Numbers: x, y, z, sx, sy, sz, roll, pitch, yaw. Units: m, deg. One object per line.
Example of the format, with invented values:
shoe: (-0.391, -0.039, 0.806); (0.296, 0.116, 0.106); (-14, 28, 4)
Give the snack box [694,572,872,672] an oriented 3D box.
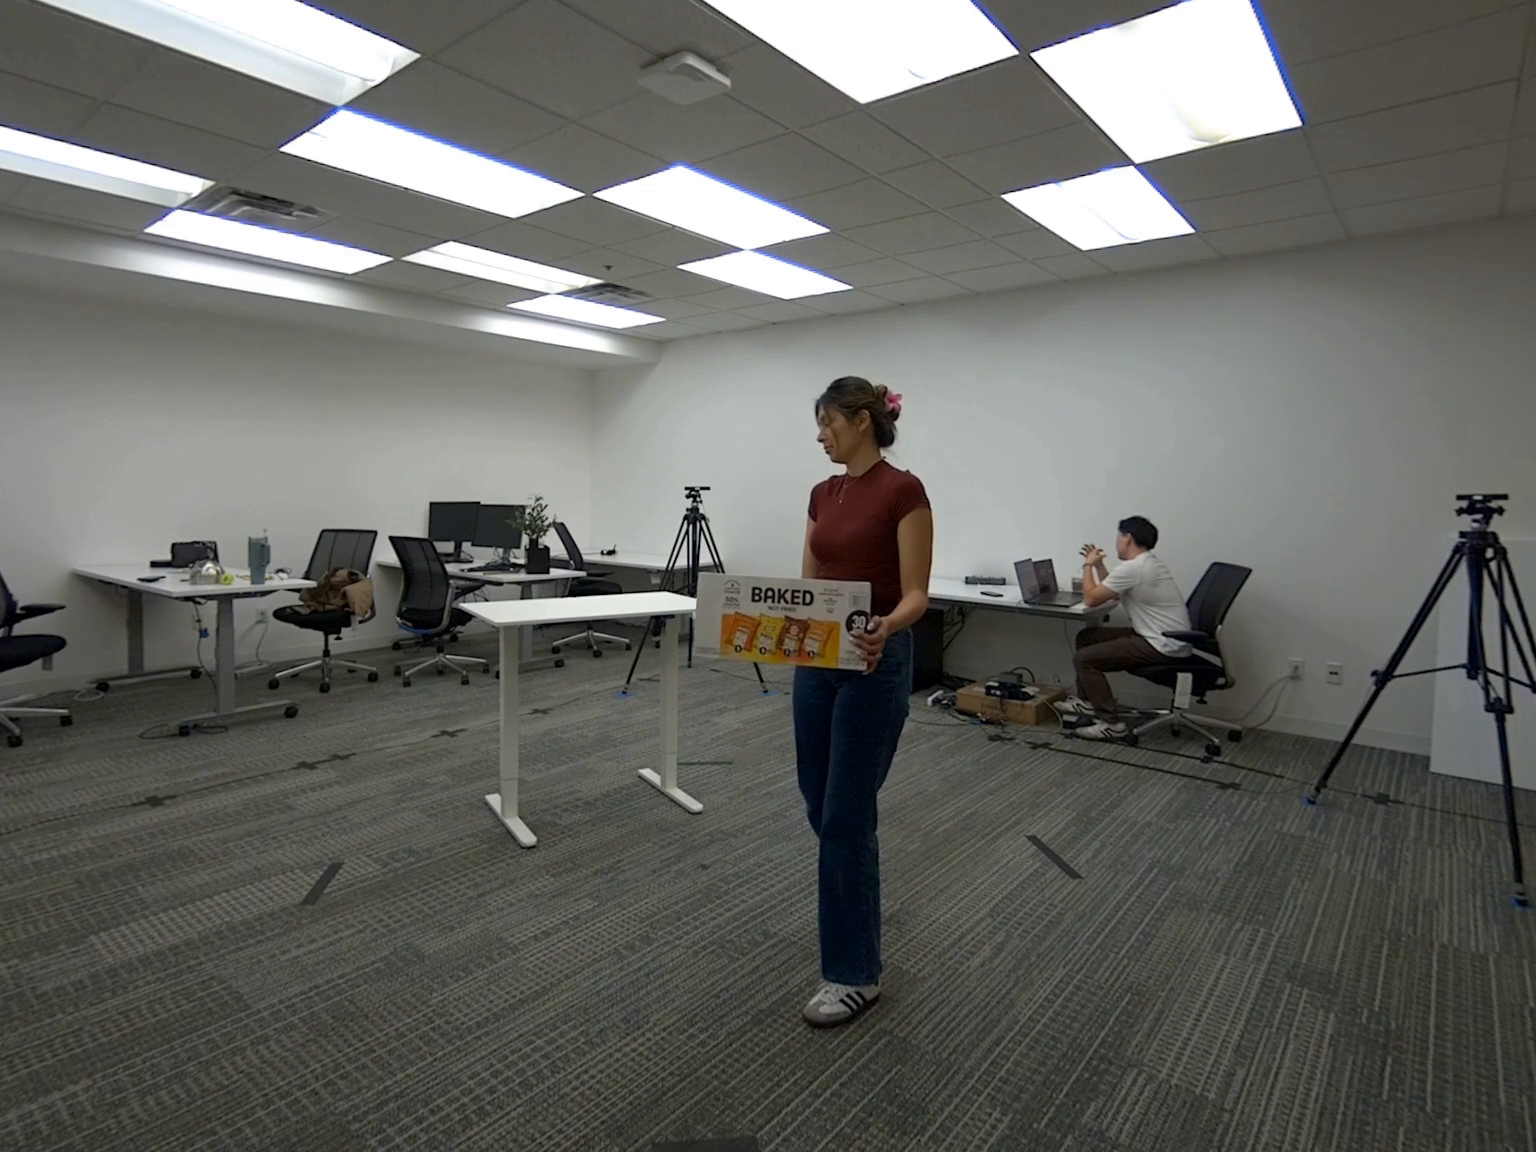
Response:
snack box: (0.041, 0.112, 2.148); (0.408, 0.206, 0.337); (5, -1, 6)
